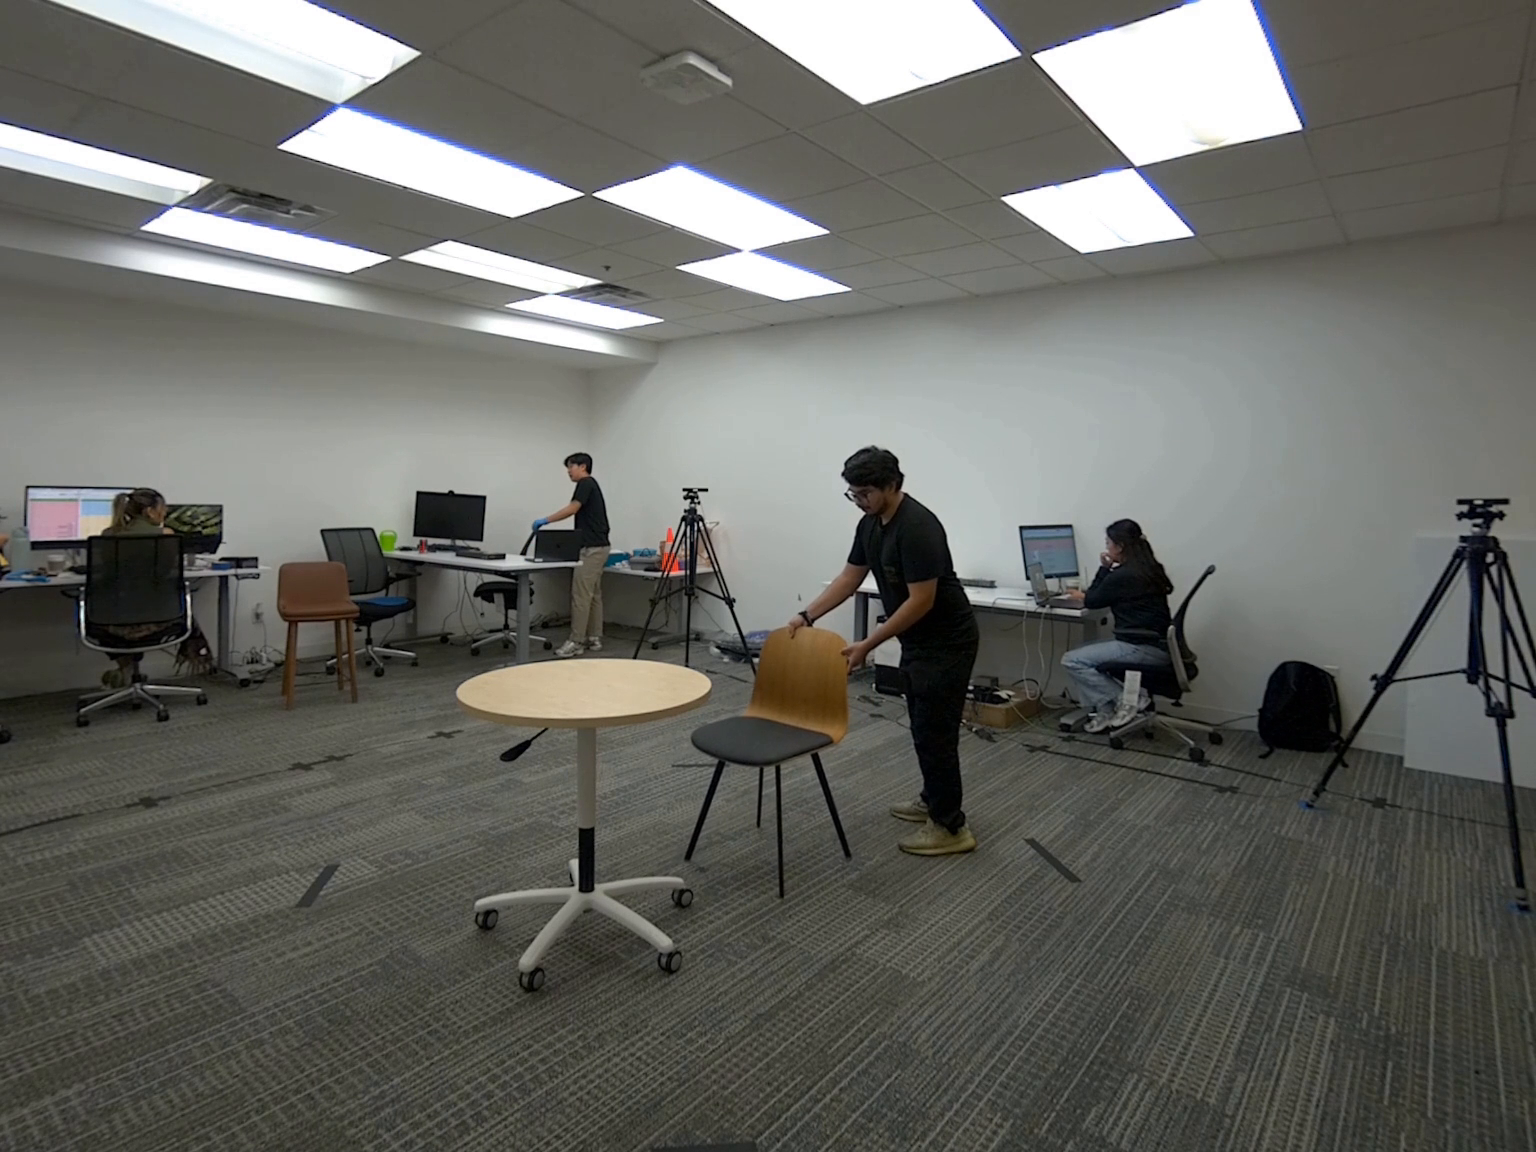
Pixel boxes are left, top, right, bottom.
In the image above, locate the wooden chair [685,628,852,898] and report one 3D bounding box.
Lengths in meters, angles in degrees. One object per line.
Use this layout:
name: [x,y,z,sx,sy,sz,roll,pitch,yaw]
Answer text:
wooden chair: [-0.001,0.640,3.179,0.494,0.878,0.506,4,-1,38]
